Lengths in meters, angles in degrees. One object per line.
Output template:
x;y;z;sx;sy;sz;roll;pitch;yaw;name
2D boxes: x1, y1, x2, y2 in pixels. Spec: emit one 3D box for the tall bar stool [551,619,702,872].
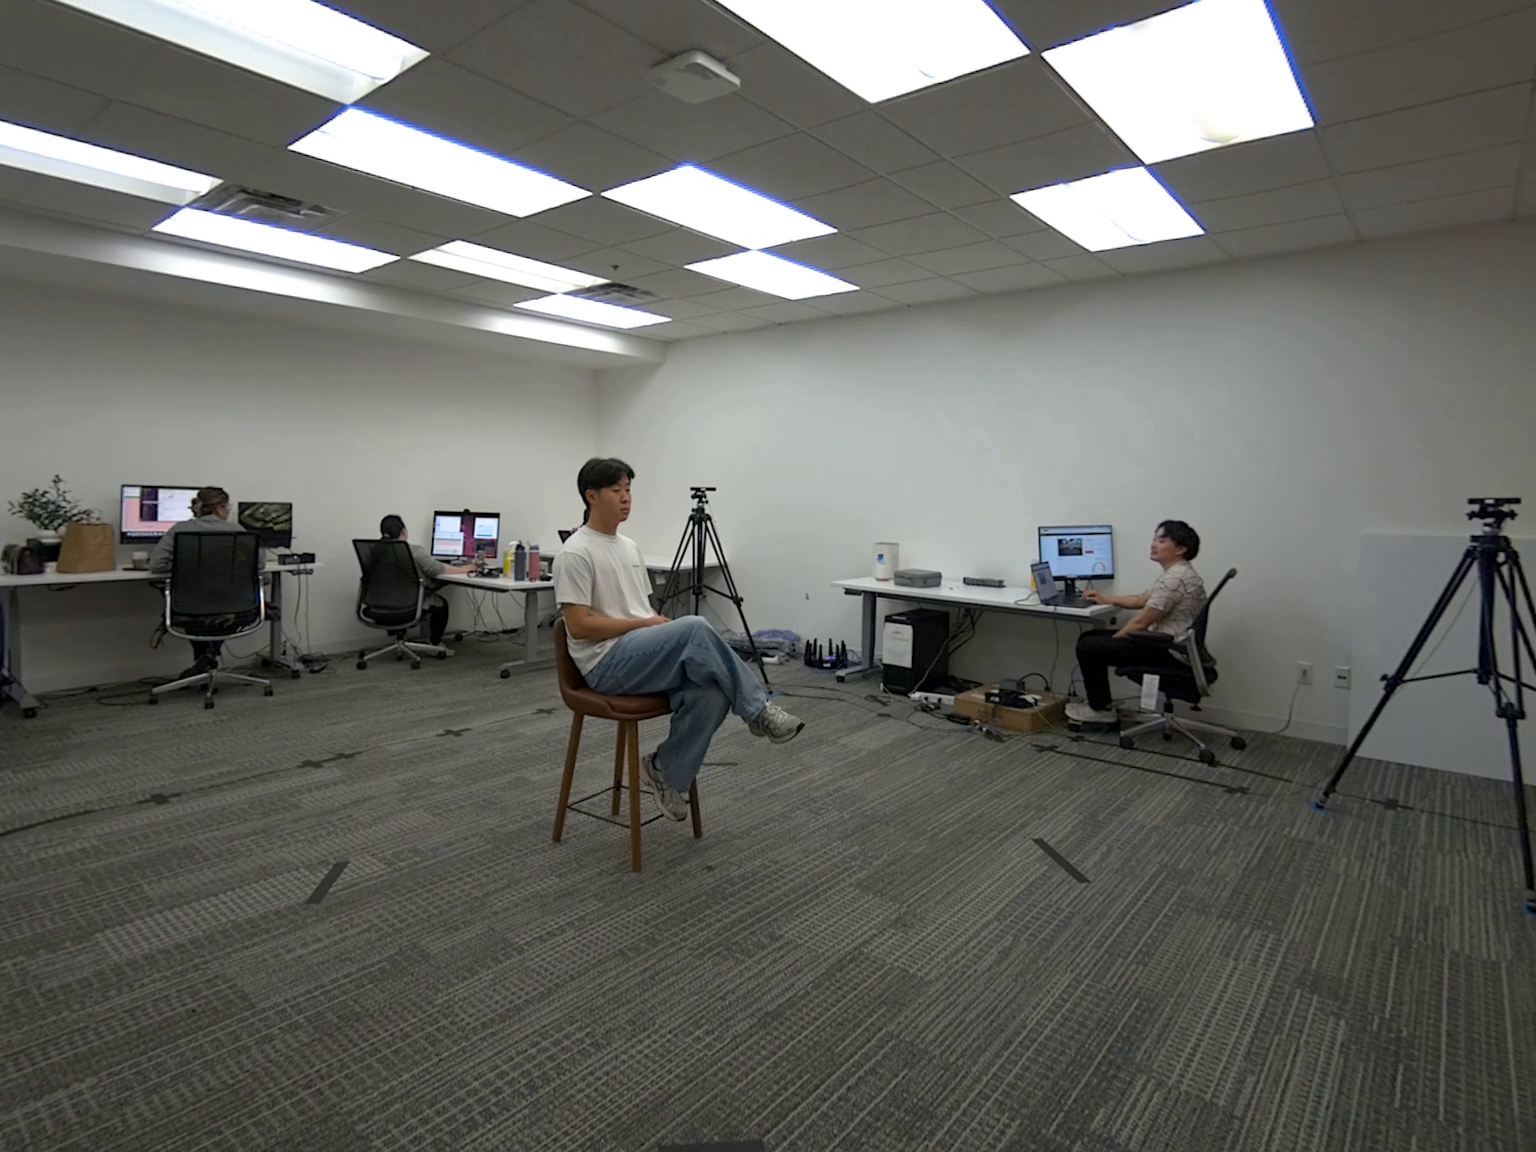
-0.571;0.605;3.343;0.481;0.889;0.443;0;1;33;tall bar stool
